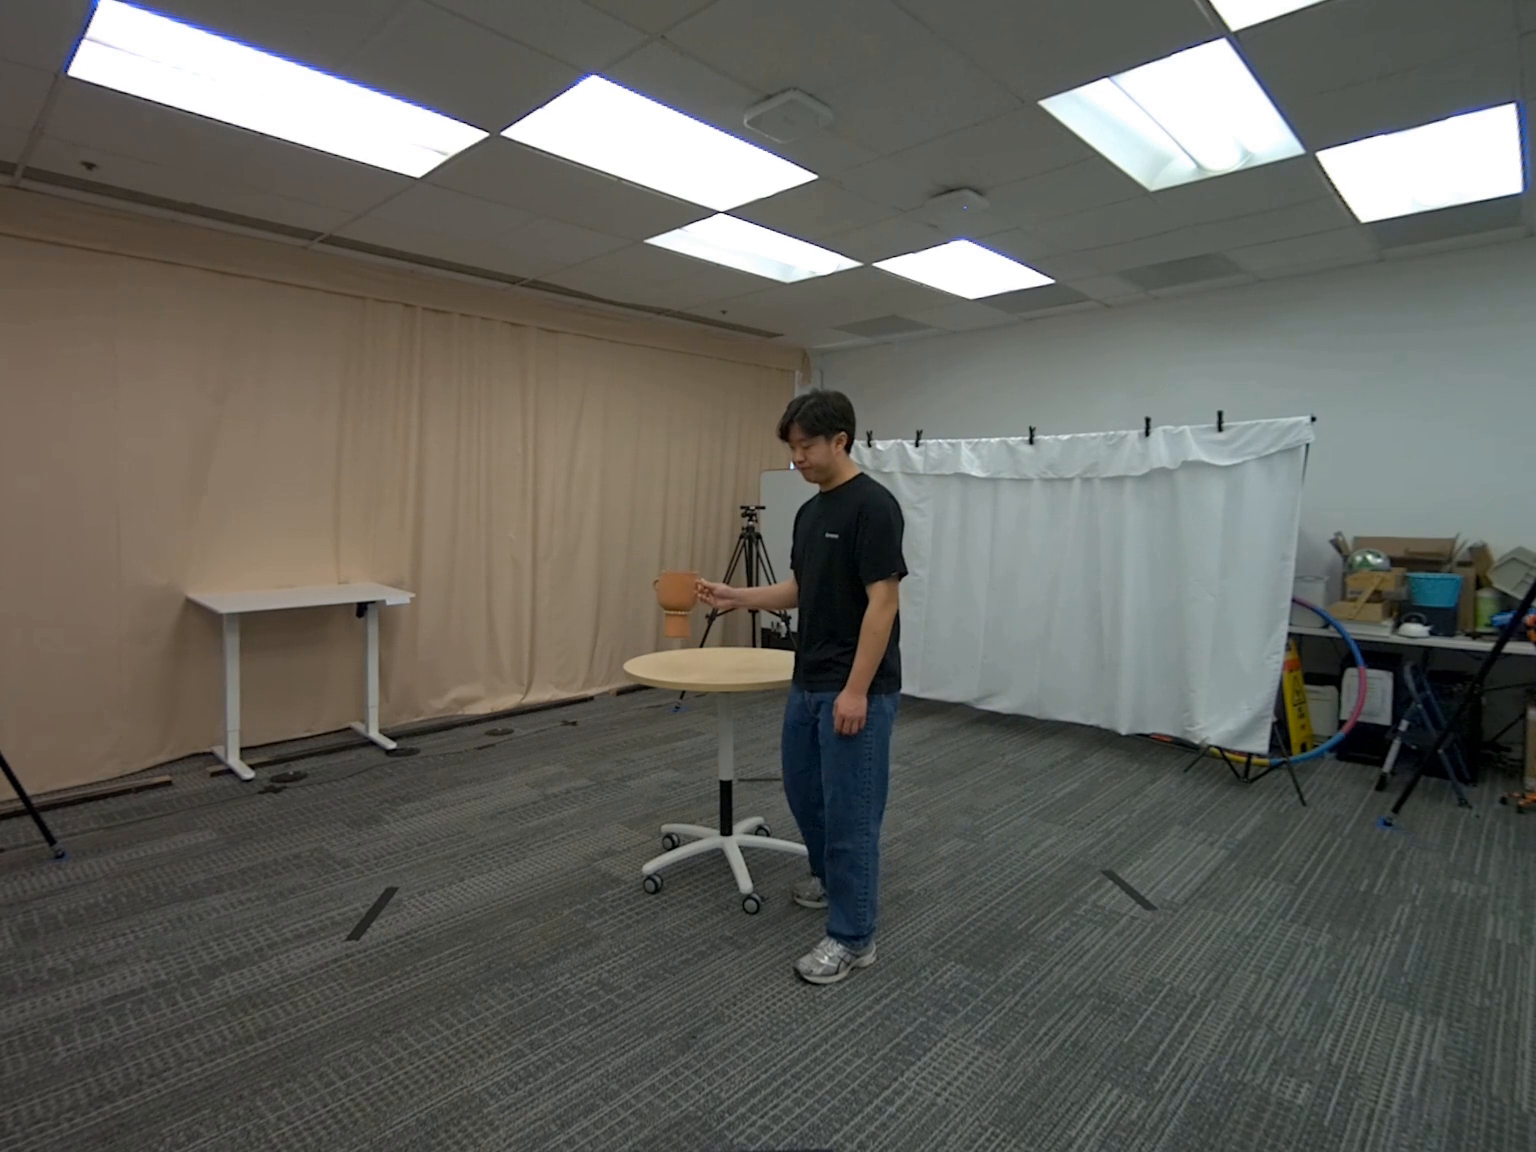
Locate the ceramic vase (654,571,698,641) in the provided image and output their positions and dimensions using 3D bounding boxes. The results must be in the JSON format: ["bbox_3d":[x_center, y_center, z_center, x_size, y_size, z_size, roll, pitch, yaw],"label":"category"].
[{"bbox_3d":[-0.302,0.093,2.853,0.131,0.220,0.163,2,-1,-31],"label":"ceramic vase"}]
